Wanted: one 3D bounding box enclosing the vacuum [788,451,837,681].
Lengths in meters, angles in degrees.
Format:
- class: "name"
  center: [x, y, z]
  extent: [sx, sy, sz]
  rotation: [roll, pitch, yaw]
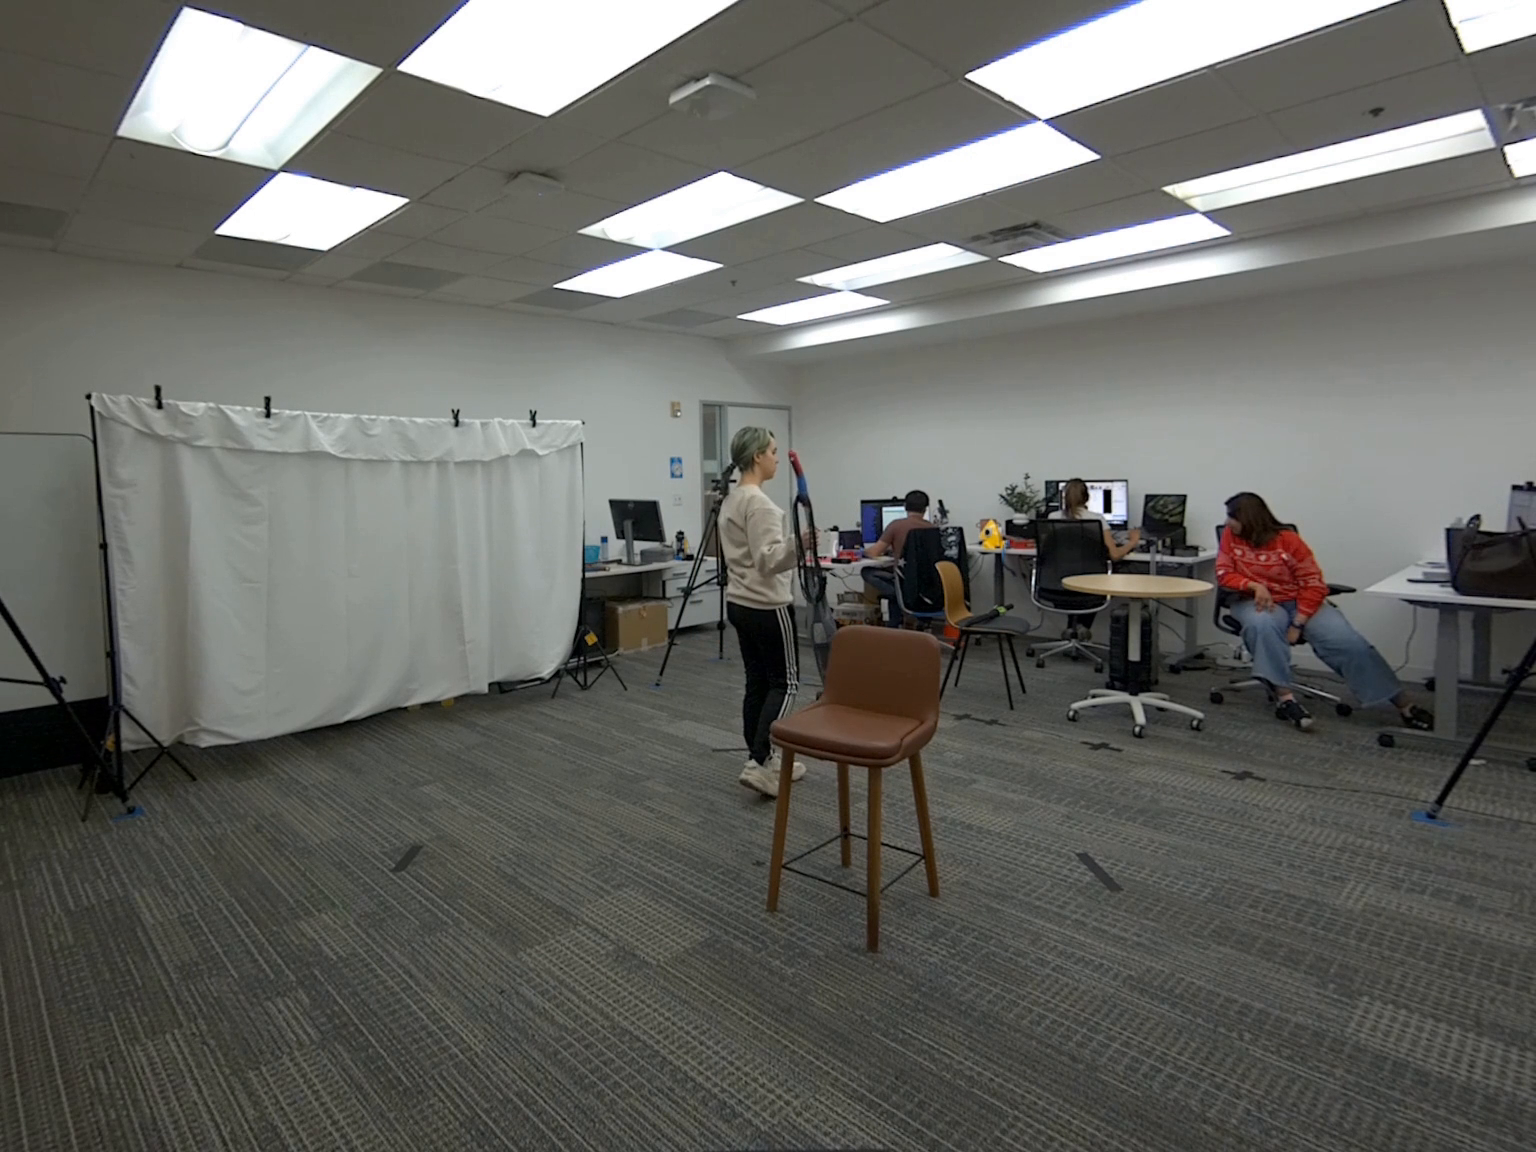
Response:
- class: "vacuum"
  center: [0.194, 0.021, 3.479]
  extent: [0.257, 1.040, 0.143]
  rotation: [-6, 8, 20]
